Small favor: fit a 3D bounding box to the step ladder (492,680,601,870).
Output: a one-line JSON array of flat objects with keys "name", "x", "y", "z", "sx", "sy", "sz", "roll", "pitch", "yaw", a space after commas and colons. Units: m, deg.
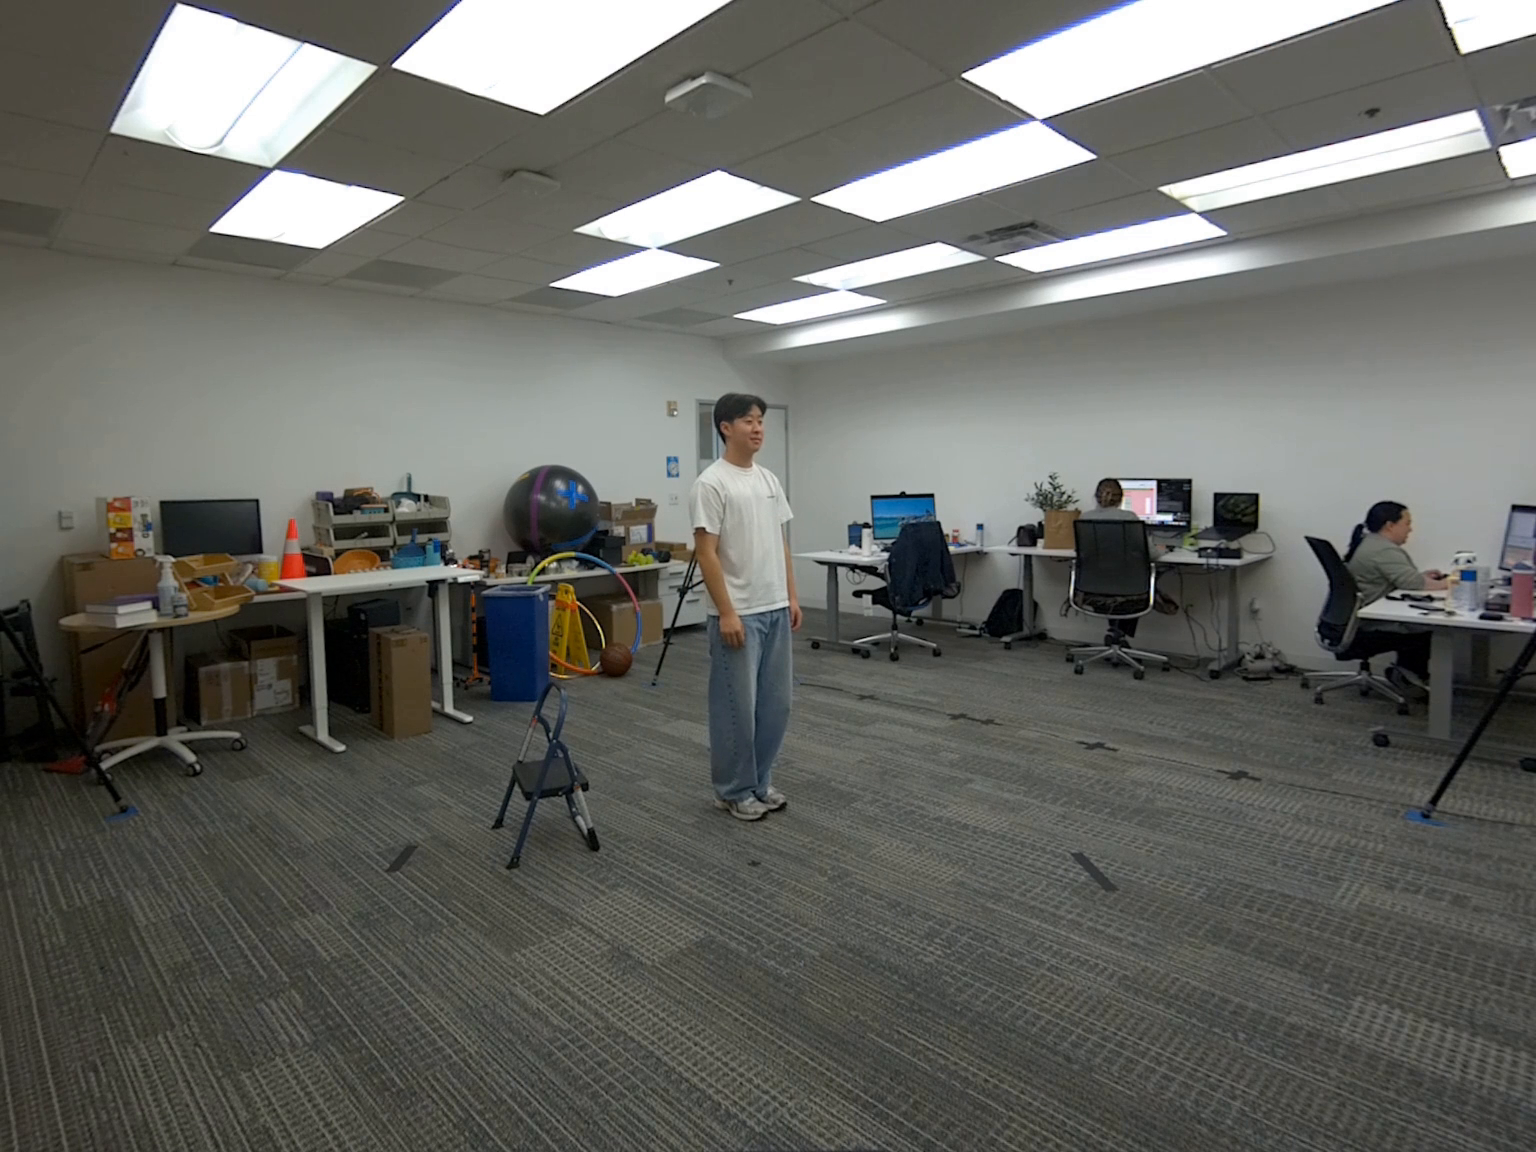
[{"name": "step ladder", "x": -0.886, "y": 0.731, "z": 3.336, "sx": 0.342, "sy": 0.603, "sz": 0.441, "roll": -3, "pitch": 5, "yaw": -24}]
